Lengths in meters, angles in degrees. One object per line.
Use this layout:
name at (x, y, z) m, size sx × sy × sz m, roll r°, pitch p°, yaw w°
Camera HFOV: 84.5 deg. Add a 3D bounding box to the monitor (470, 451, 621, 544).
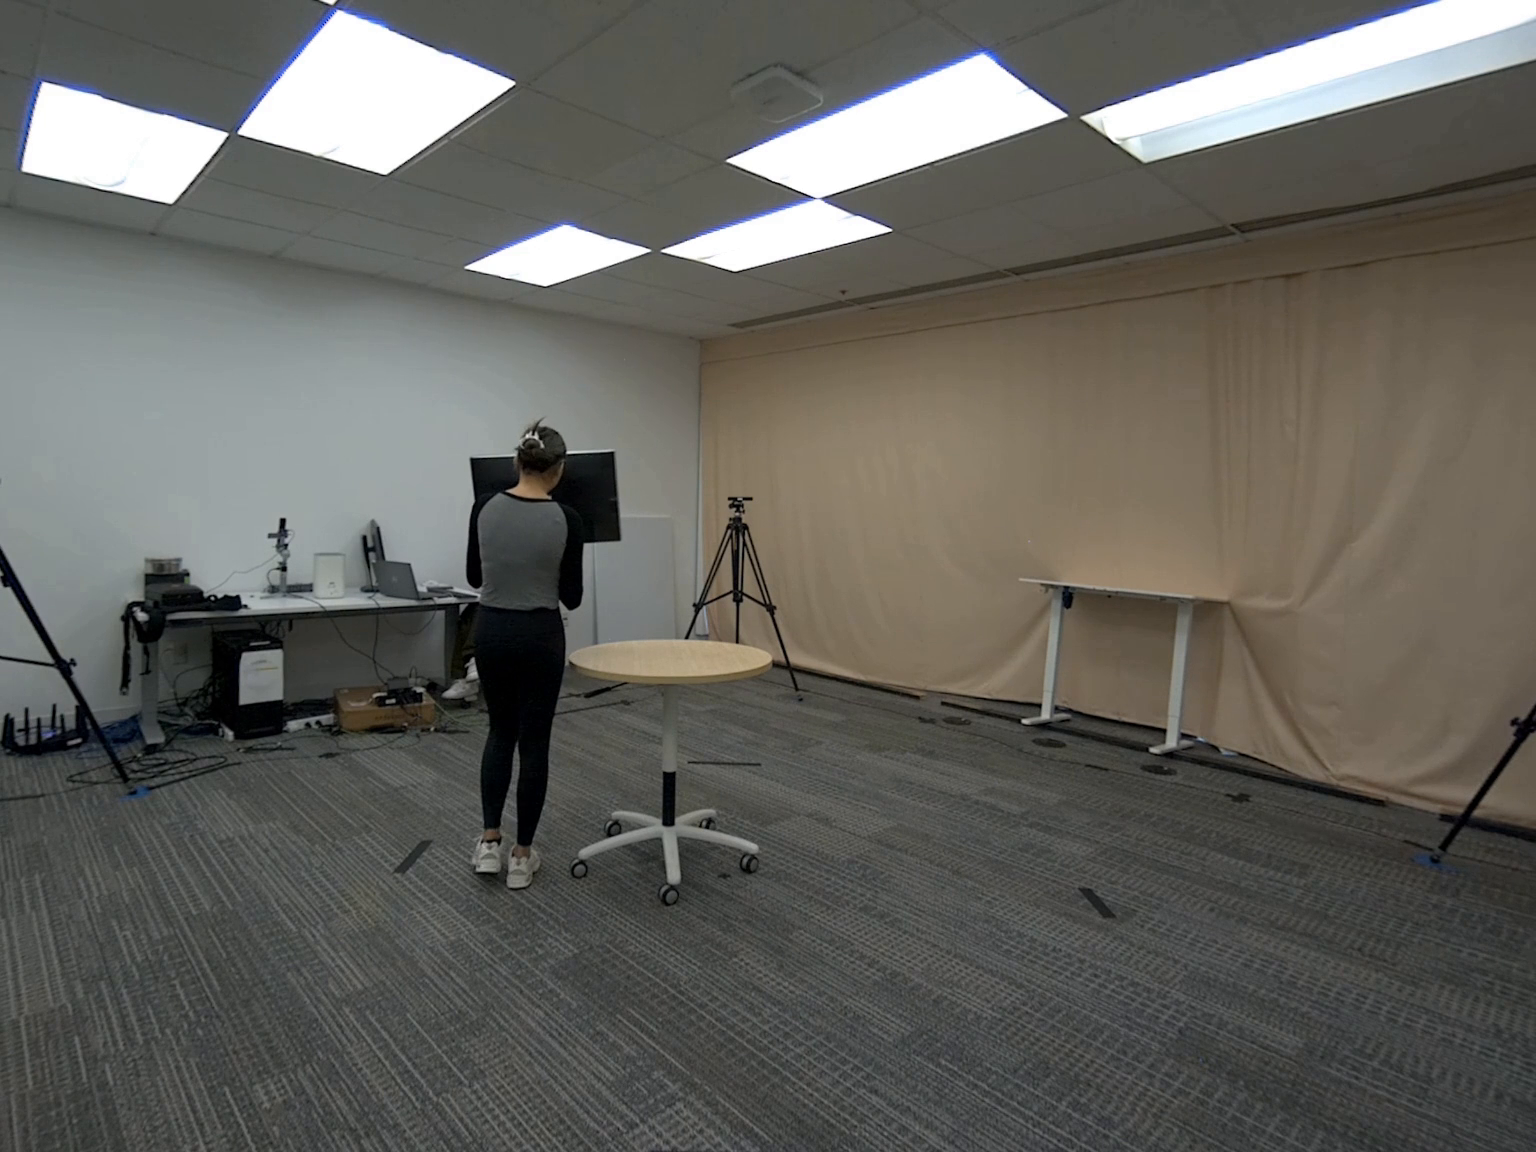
monitor at (-0.853, -0.201, 3.243) m, size 0.538 × 0.521 × 0.188 m, roll -3°, pitch 3°, yaw -3°
